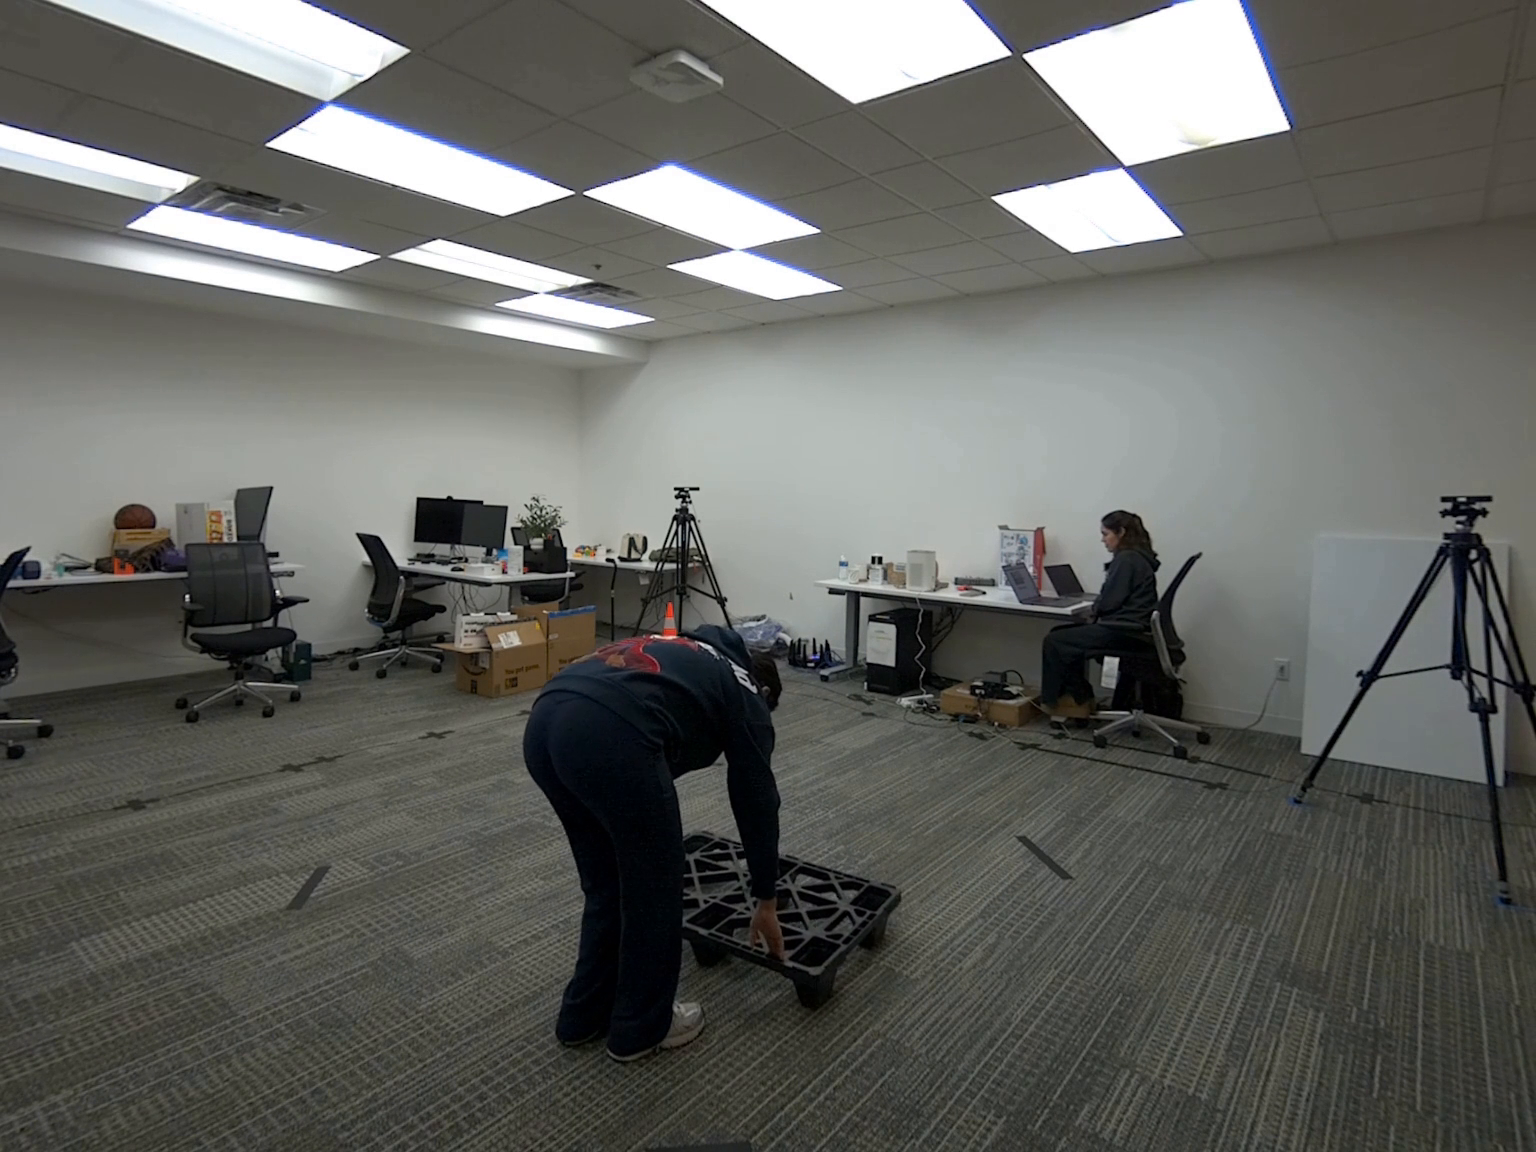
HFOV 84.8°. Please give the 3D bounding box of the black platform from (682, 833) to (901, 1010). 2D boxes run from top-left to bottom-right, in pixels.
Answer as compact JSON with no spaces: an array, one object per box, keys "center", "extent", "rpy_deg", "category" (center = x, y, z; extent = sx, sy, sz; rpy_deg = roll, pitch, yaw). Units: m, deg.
[{"center":[-0.071,1.045,2.665],"extent":[0.830,0.143,0.589],"rpy_deg":[4,7,32],"category":"black platform"}]
